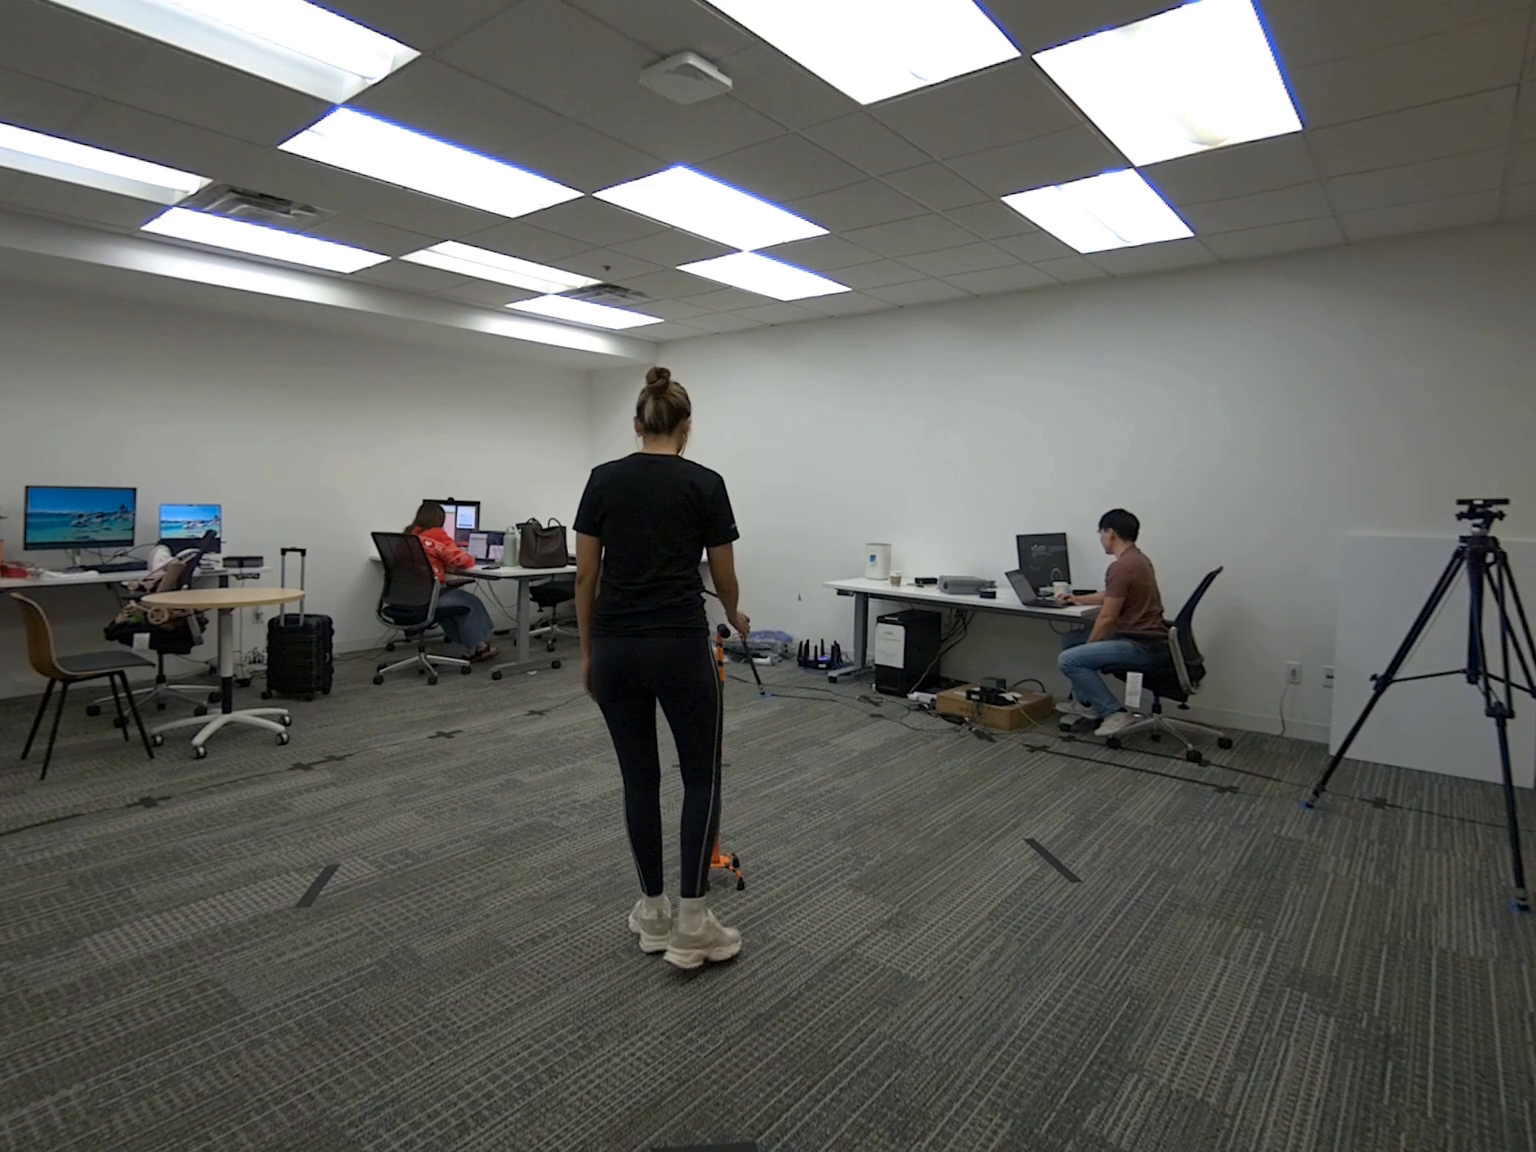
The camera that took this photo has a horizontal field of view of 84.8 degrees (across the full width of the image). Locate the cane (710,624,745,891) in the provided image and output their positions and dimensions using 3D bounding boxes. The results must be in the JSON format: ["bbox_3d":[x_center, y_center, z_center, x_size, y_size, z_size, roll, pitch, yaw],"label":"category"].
[{"bbox_3d":[-0.166,0.620,3.027,0.150,0.905,0.208,1,3,-8],"label":"cane"}]
